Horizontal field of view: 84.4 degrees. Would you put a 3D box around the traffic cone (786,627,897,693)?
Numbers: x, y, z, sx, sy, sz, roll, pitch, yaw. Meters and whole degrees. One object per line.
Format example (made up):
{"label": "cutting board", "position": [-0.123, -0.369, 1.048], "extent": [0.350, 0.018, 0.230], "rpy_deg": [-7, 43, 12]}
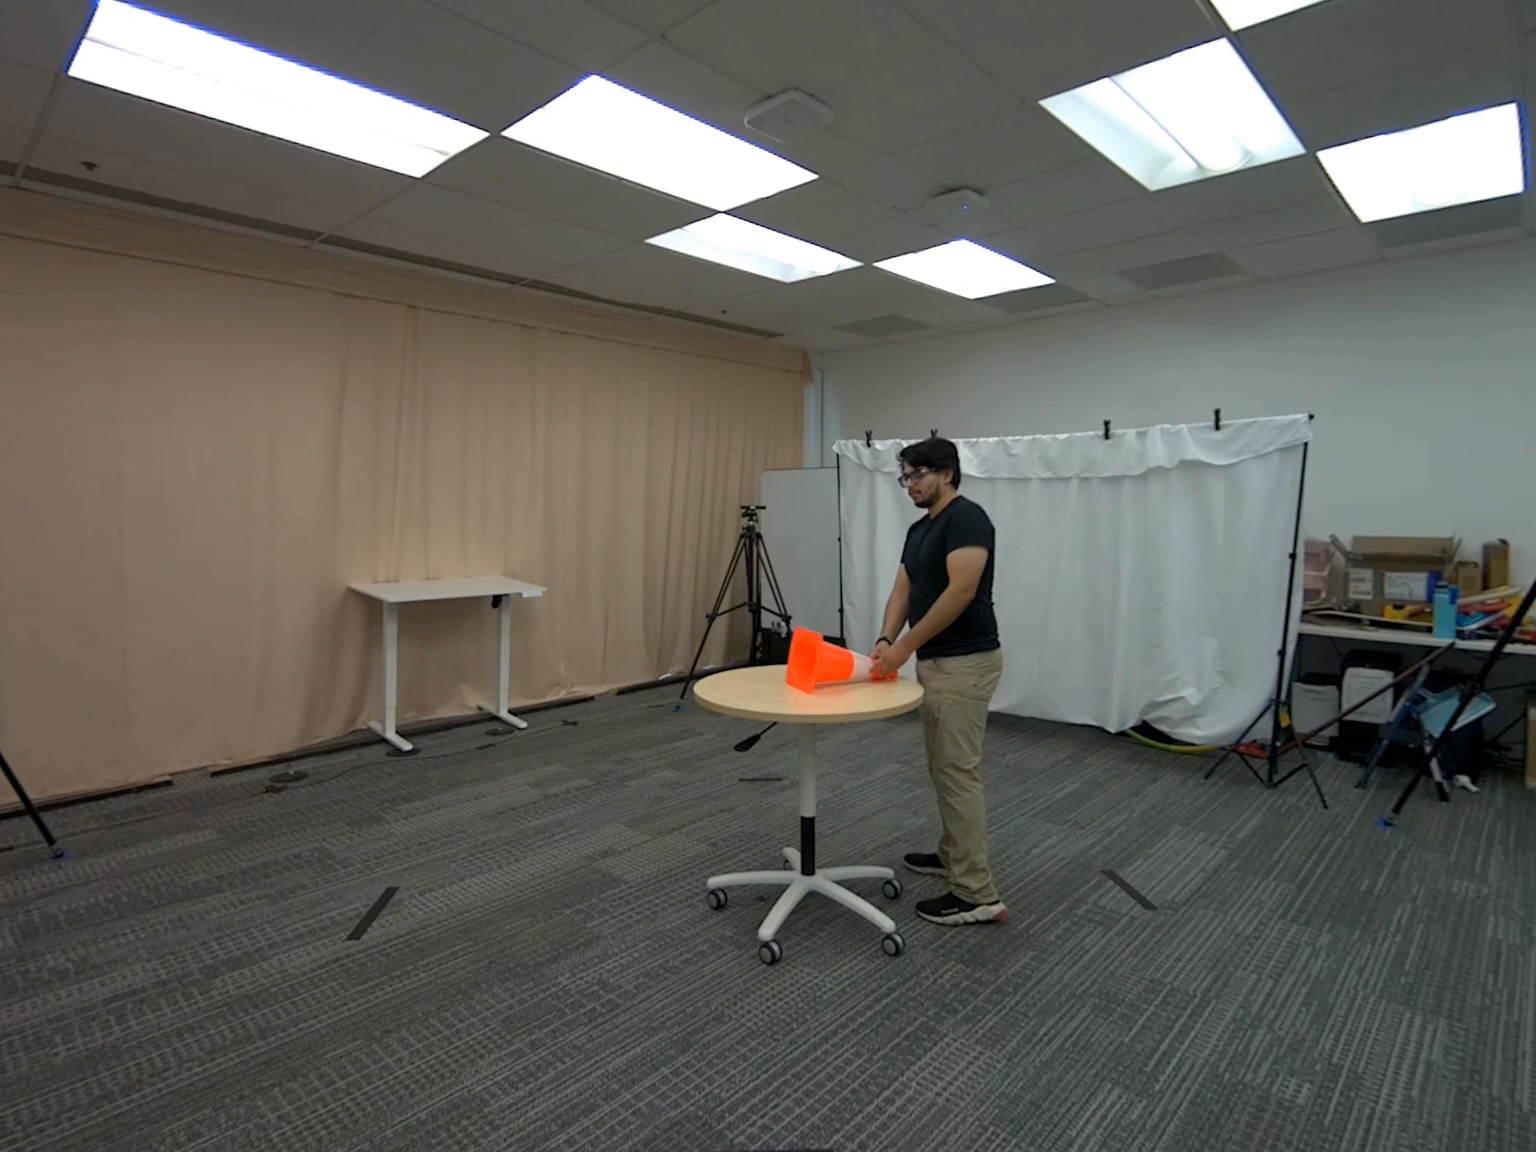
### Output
{"label": "traffic cone", "position": [0.290, 0.316, 2.869], "extent": [0.374, 0.205, 0.208], "rpy_deg": [12, -2, -23]}
